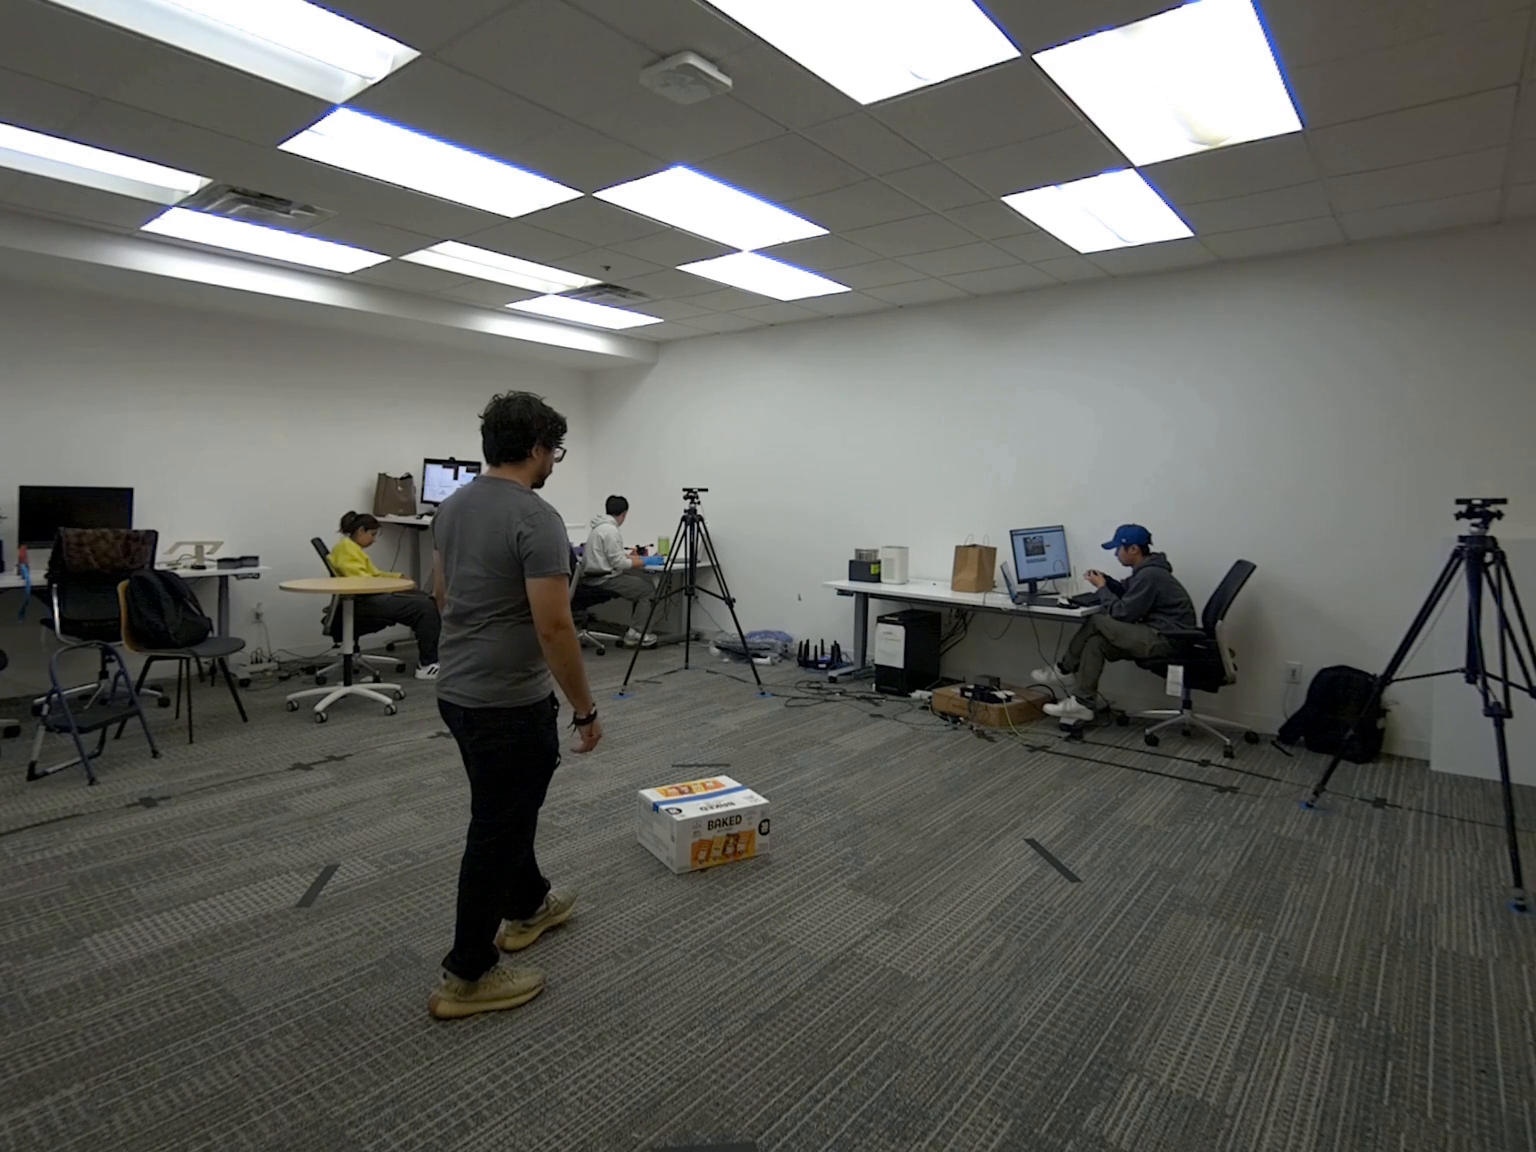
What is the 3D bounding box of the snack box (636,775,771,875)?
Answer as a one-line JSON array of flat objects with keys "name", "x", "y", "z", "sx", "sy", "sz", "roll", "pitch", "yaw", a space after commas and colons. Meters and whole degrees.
[{"name": "snack box", "x": -0.263, "y": 0.950, "z": 3.295, "sx": 0.394, "sy": 0.205, "sz": 0.351, "roll": -2, "pitch": 6, "yaw": -32}]
